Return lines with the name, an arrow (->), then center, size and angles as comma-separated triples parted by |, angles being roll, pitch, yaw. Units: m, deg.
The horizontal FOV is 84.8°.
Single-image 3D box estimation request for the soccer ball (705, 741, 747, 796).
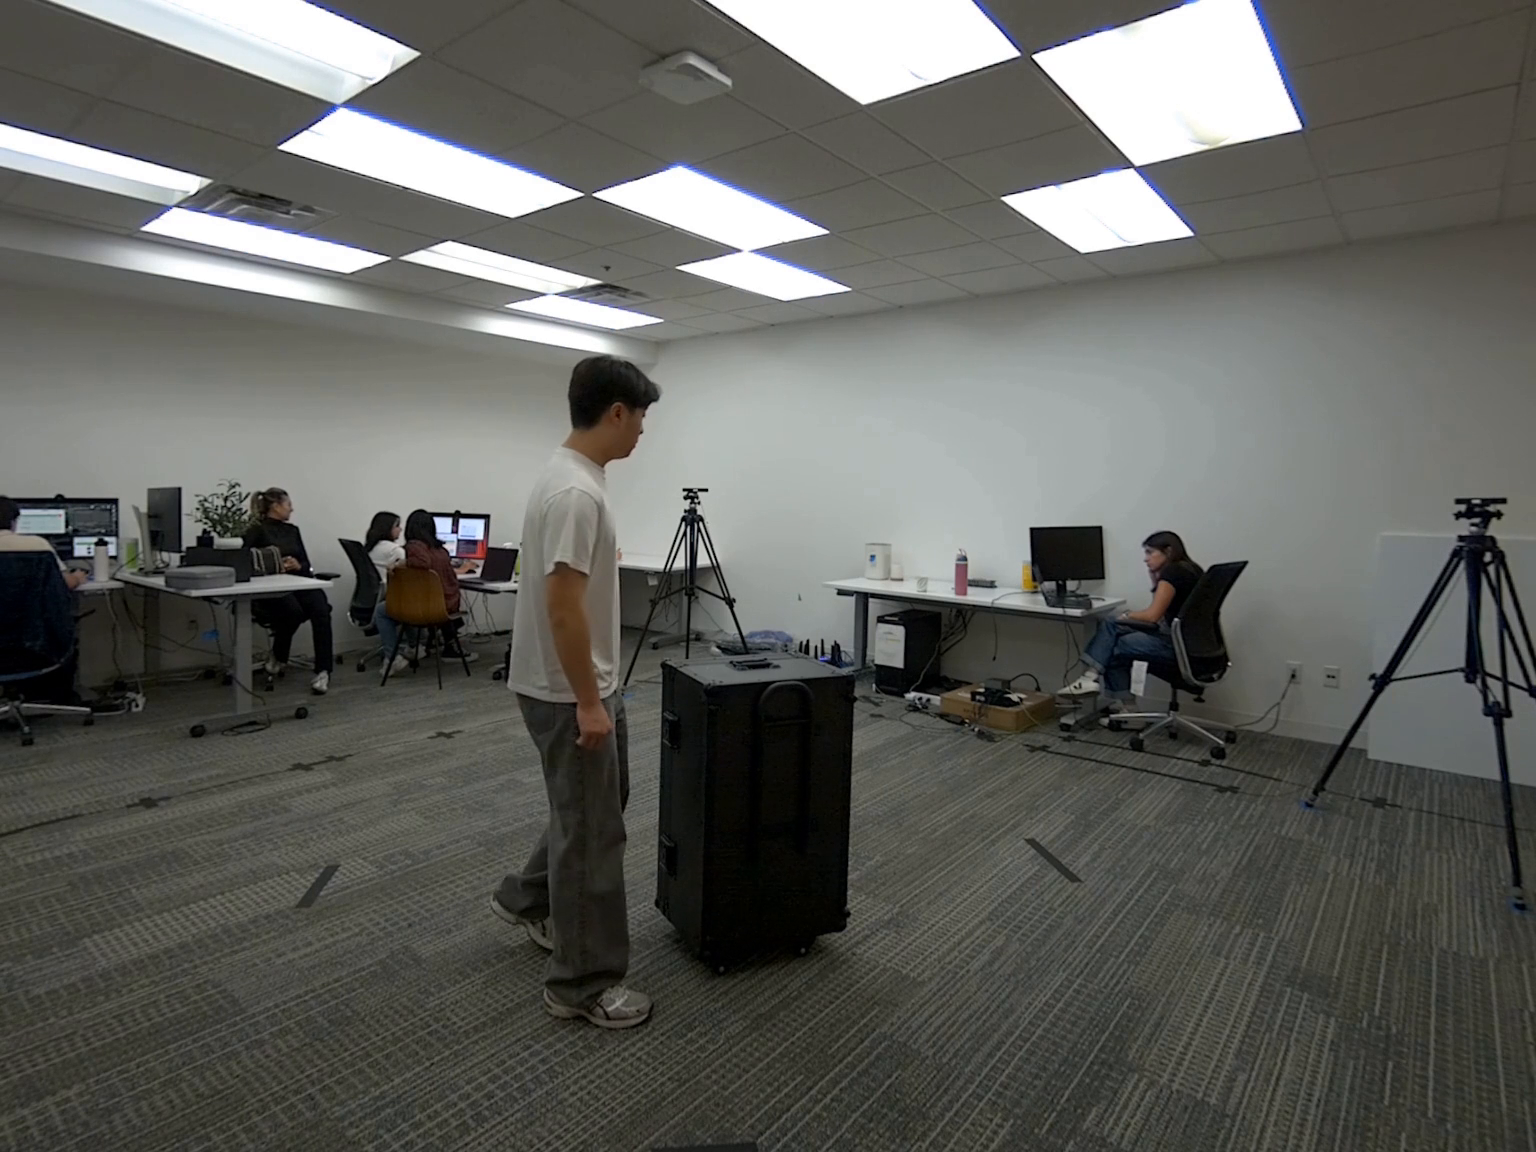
soccer ball -> -0.198, 0.887, 3.899 | 0.187, 0.187, 0.188 | 1, 4, -2
